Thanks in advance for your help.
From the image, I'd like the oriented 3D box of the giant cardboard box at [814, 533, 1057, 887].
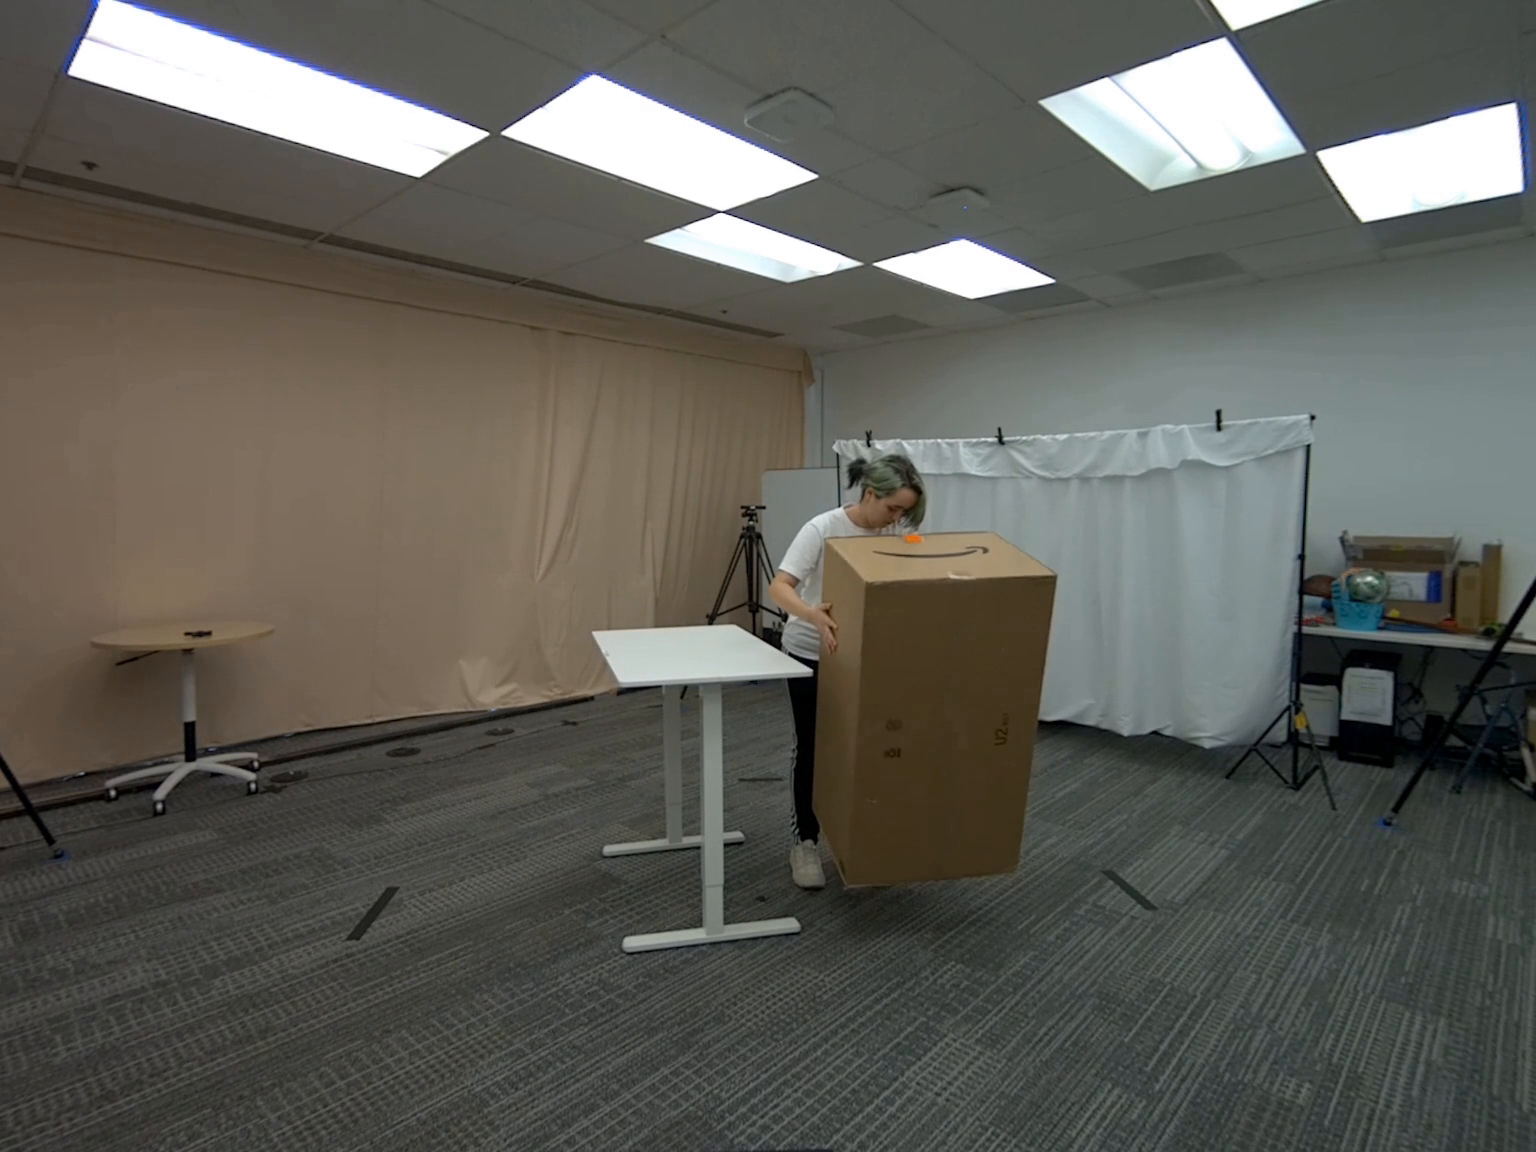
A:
[{"bbox_3d":[0.494,0.420,2.708,0.579,1.016,0.456,-1,18,-9],"label":"giant cardboard box"}]
